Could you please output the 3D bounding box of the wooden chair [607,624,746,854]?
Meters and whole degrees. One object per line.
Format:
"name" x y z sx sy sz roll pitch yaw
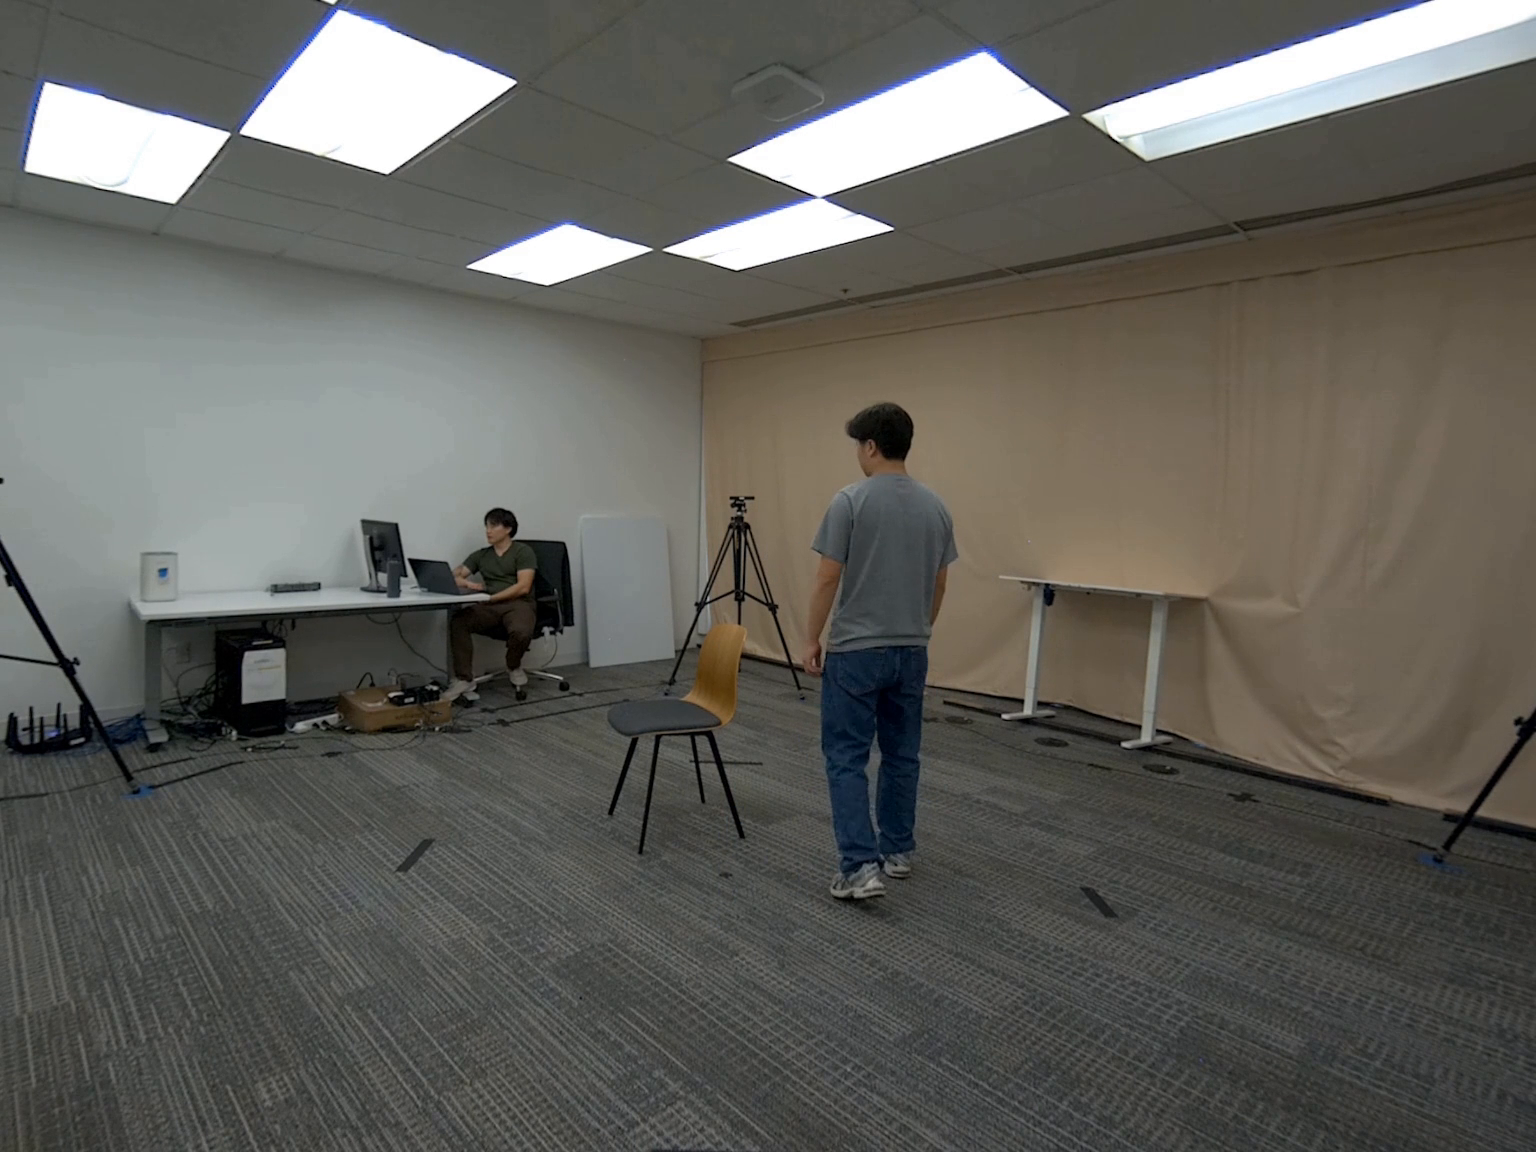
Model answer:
"wooden chair" -0.399 0.637 3.528 0.513 0.876 0.488 4 2 -25
